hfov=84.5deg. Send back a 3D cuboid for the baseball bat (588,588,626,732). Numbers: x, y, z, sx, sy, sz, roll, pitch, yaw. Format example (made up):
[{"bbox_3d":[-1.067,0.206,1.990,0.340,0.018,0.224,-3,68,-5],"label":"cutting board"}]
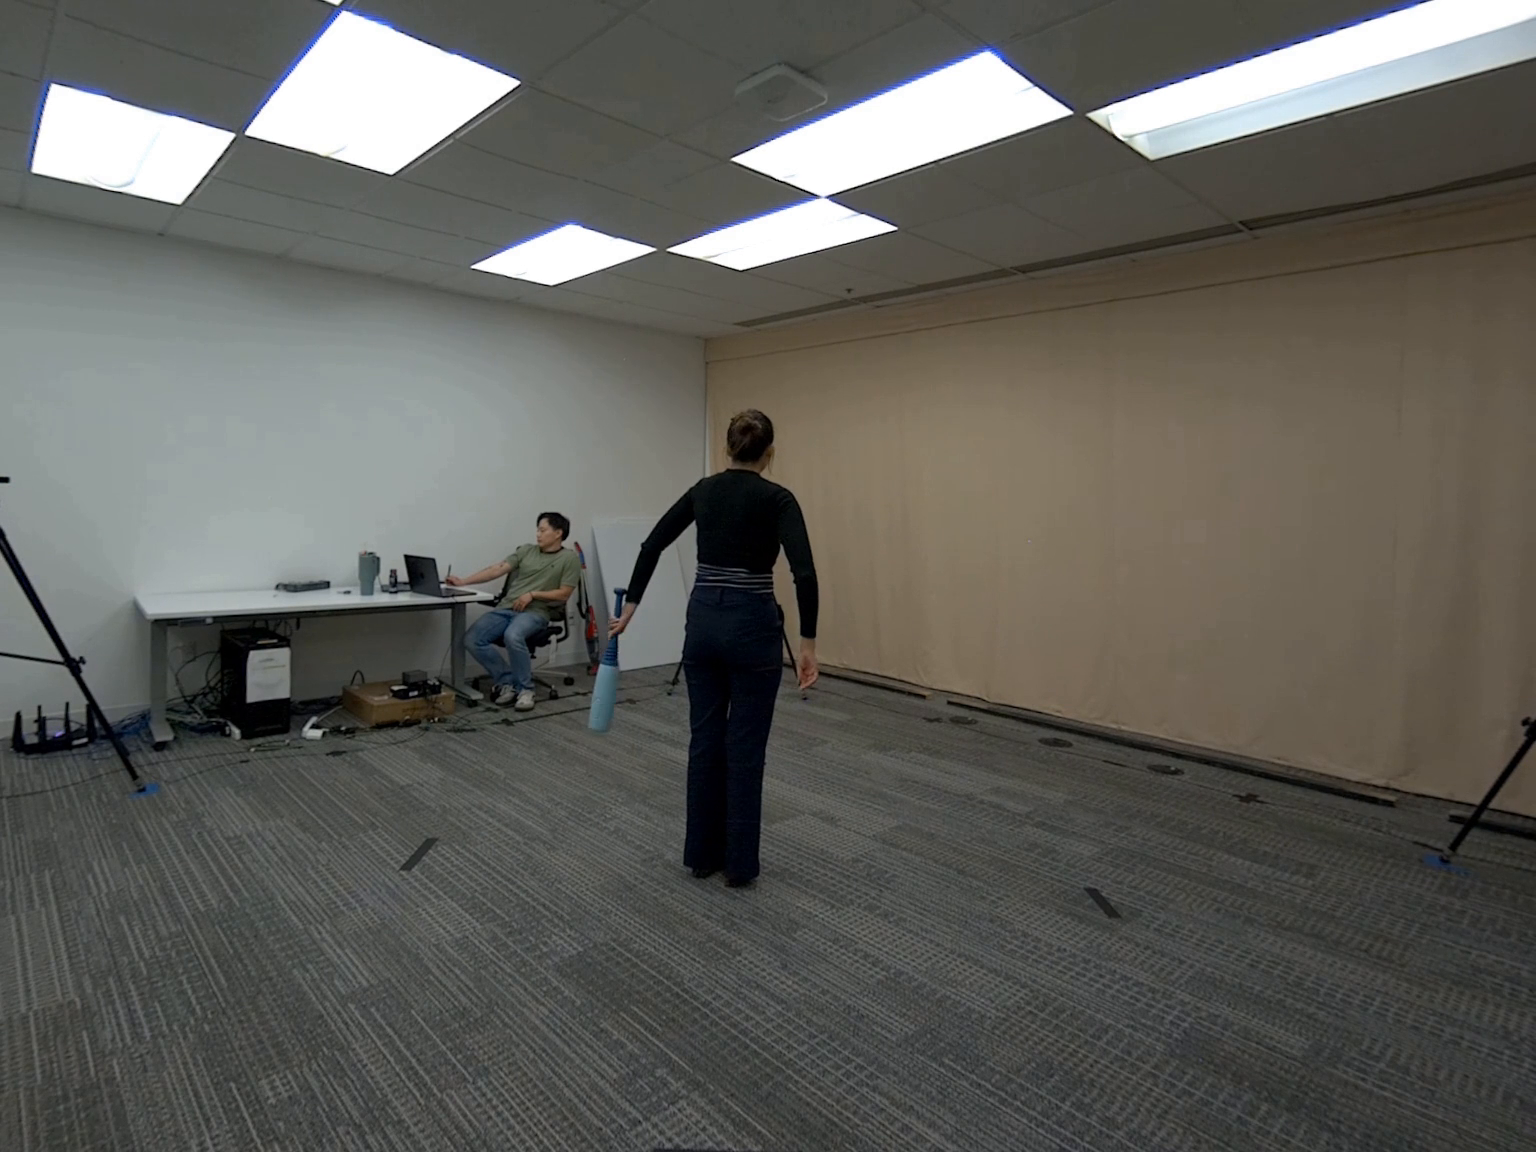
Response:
[{"bbox_3d":[-0.563,0.296,3.182,0.089,0.544,0.089,8,-5,-1],"label":"baseball bat"}]
